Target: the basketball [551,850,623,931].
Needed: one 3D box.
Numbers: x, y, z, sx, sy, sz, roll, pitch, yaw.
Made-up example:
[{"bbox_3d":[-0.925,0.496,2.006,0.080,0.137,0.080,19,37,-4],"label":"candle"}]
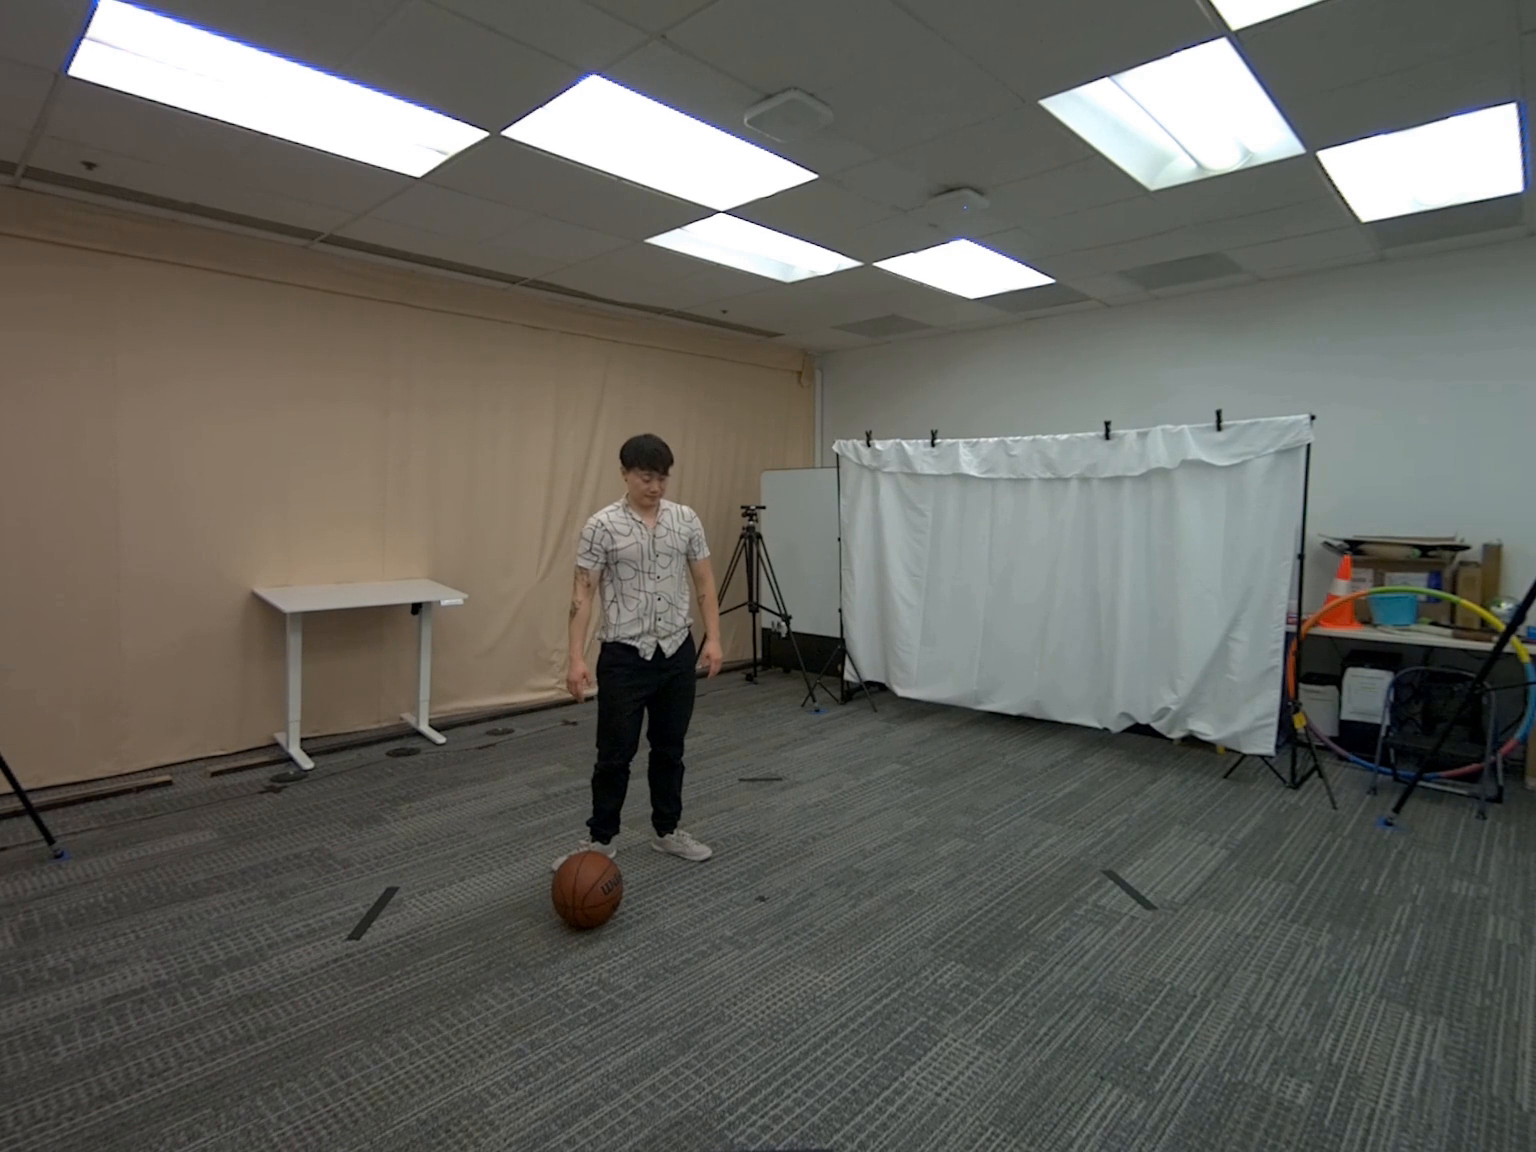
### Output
[{"bbox_3d":[-0.596,1.038,2.810,0.236,0.235,0.237,0,4,-2],"label":"basketball"}]
